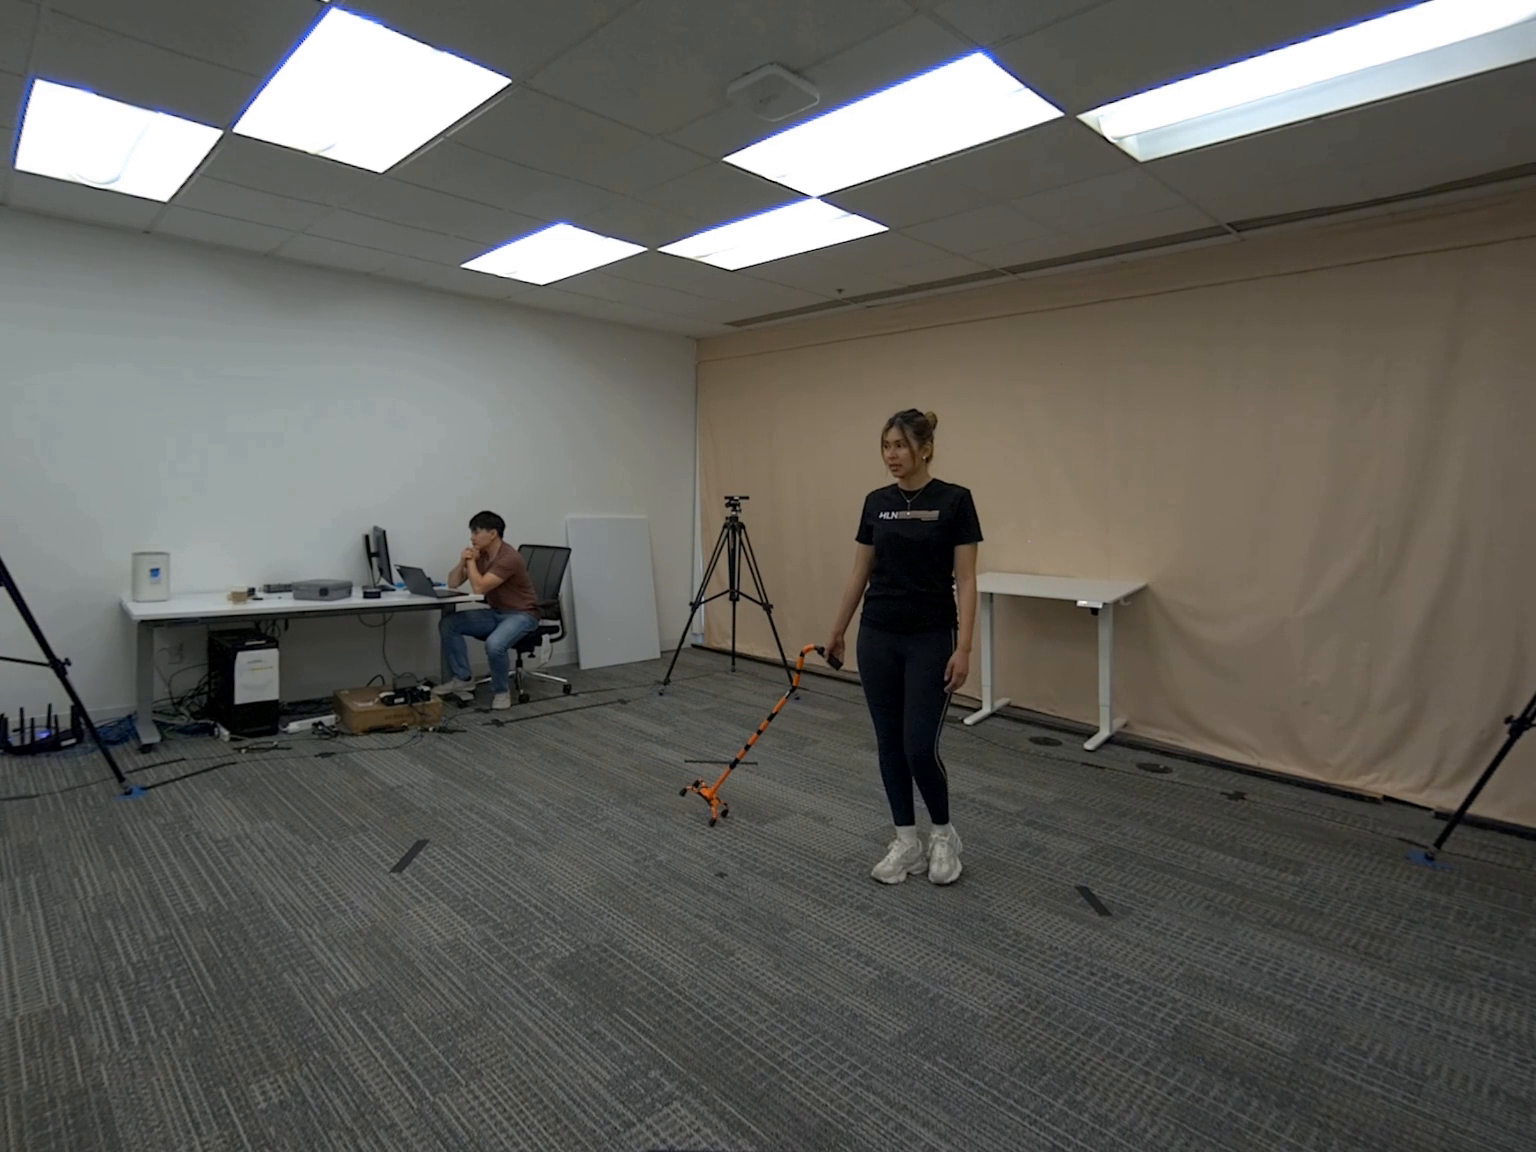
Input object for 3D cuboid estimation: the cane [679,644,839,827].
[{"bbox_3d":[-0.038,0.645,3.524,0.211,0.906,0.149,42,17,19],"label":"cane"}]
